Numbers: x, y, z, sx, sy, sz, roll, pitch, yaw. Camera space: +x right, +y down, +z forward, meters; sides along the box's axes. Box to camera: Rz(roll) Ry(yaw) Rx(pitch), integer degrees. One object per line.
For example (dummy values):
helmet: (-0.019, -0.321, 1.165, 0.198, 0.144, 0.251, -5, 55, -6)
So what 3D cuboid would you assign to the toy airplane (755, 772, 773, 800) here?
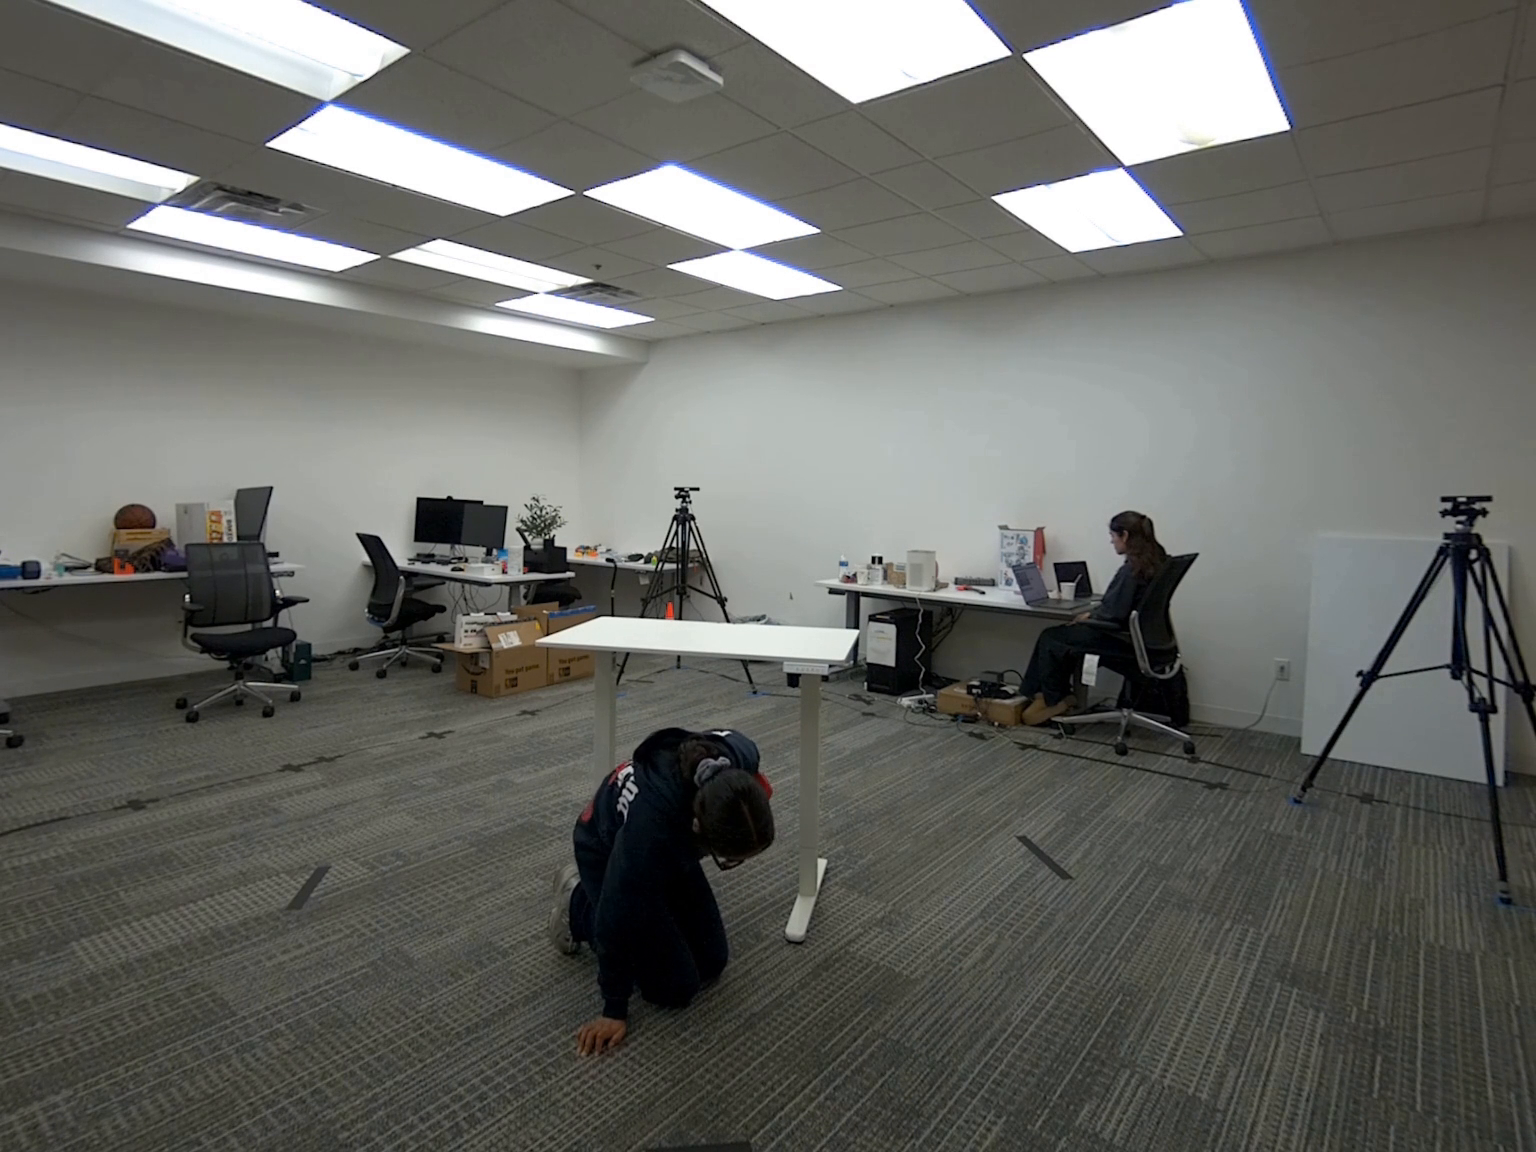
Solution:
toy airplane: (-0.102, 0.604, 2.418, 0.253, 0.267, 0.150, -12, -40, 11)
